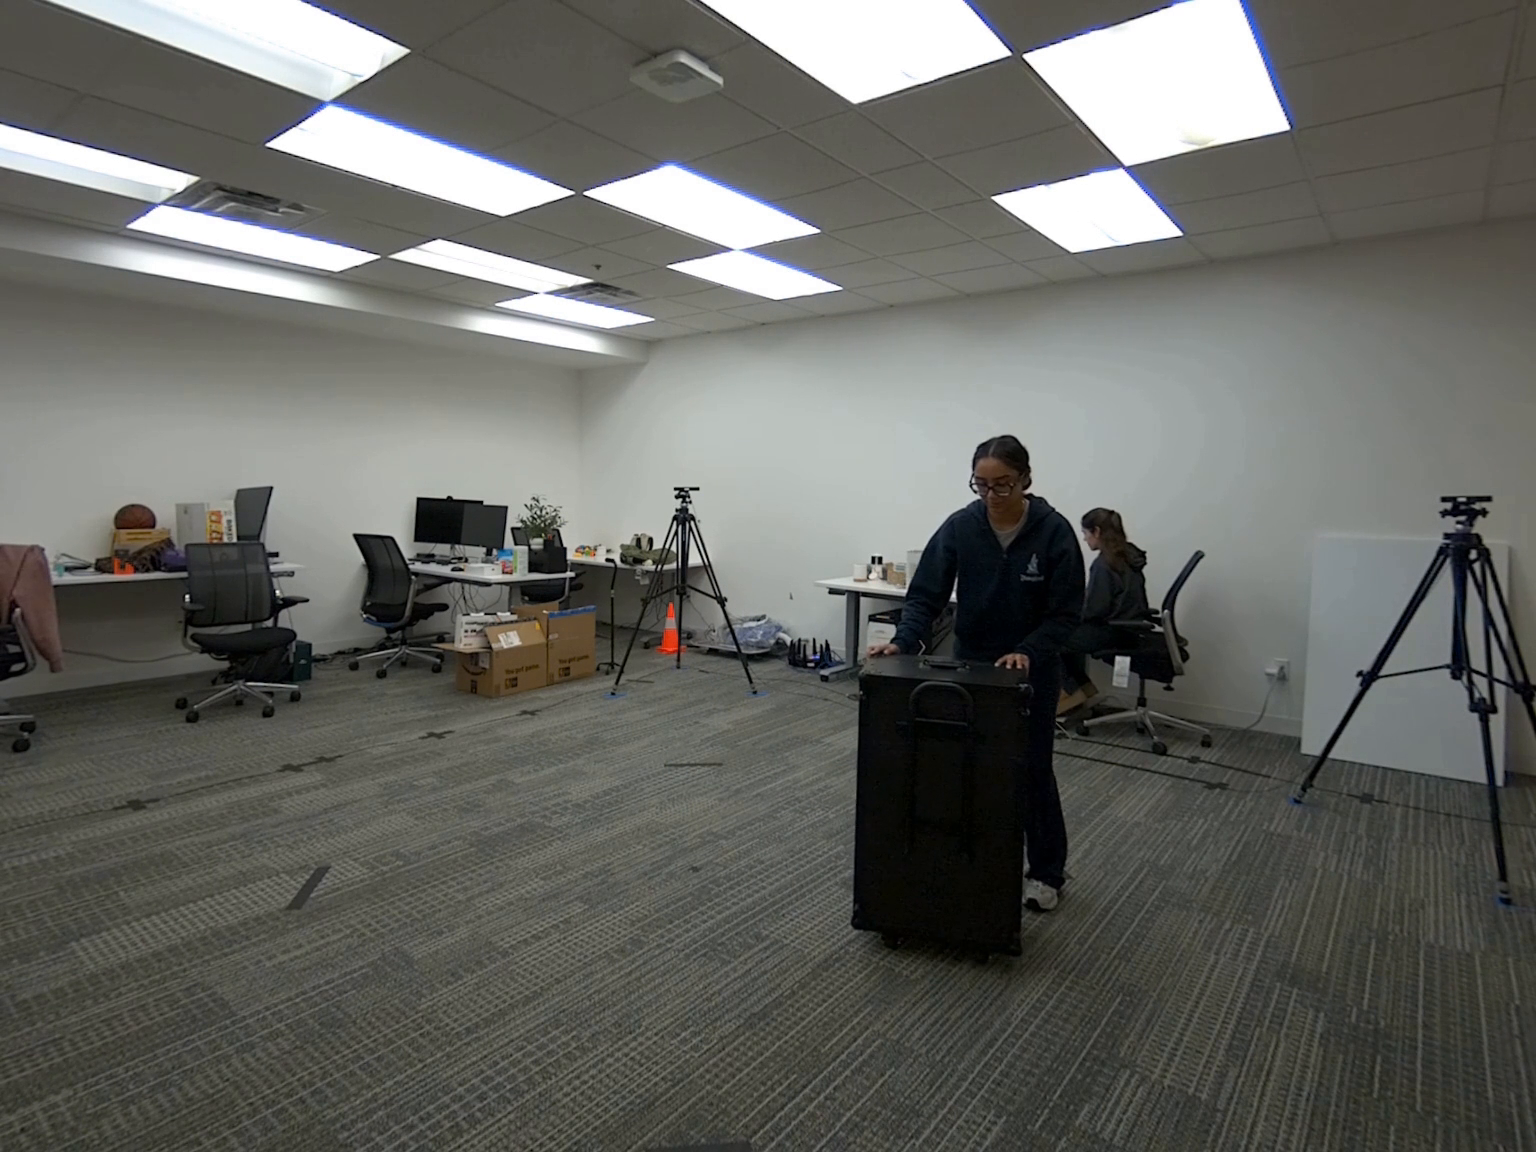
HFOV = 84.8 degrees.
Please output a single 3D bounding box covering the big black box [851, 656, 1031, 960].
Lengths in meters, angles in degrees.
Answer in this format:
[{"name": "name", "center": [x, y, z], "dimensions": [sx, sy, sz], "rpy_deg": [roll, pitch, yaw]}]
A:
[{"name": "big black box", "center": [0.526, 0.698, 2.630], "dimensions": [0.531, 0.858, 0.390], "rpy_deg": [2, 4, 17]}]
